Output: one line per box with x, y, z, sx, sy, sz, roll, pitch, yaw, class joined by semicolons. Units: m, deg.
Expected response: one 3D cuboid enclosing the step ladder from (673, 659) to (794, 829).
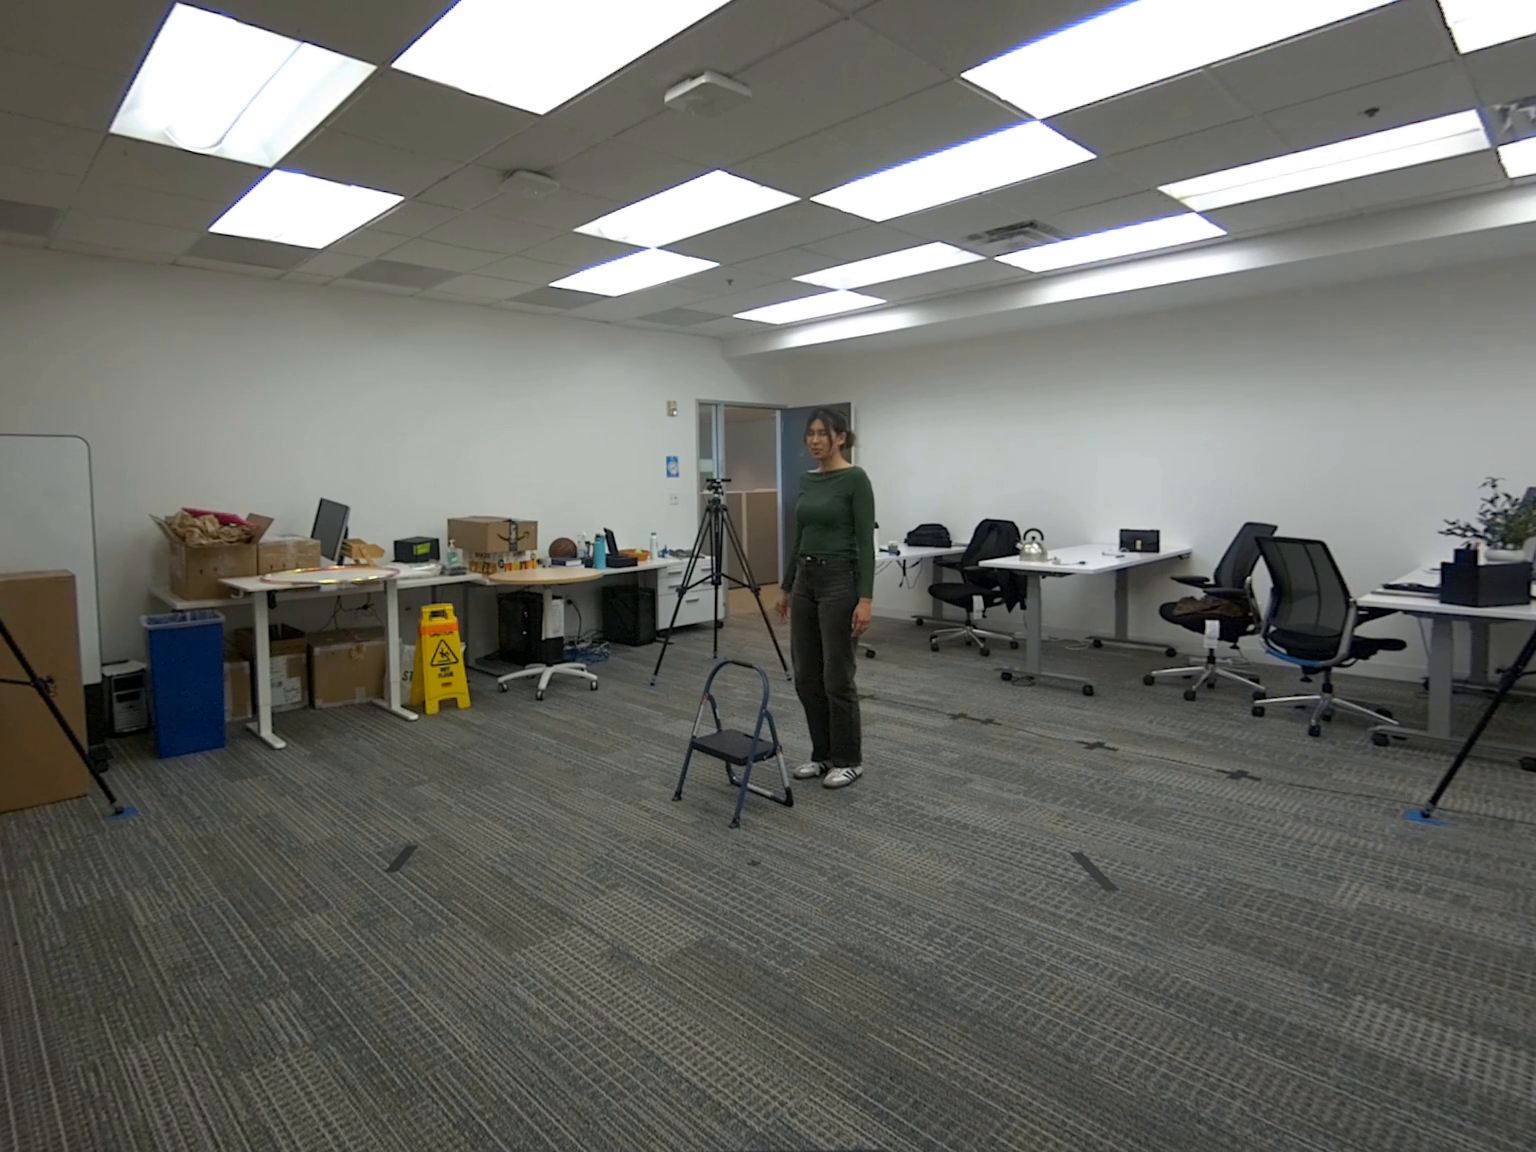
-0.158;0.678;3.669;0.340;0.604;0.444;-4;5;-41;step ladder
